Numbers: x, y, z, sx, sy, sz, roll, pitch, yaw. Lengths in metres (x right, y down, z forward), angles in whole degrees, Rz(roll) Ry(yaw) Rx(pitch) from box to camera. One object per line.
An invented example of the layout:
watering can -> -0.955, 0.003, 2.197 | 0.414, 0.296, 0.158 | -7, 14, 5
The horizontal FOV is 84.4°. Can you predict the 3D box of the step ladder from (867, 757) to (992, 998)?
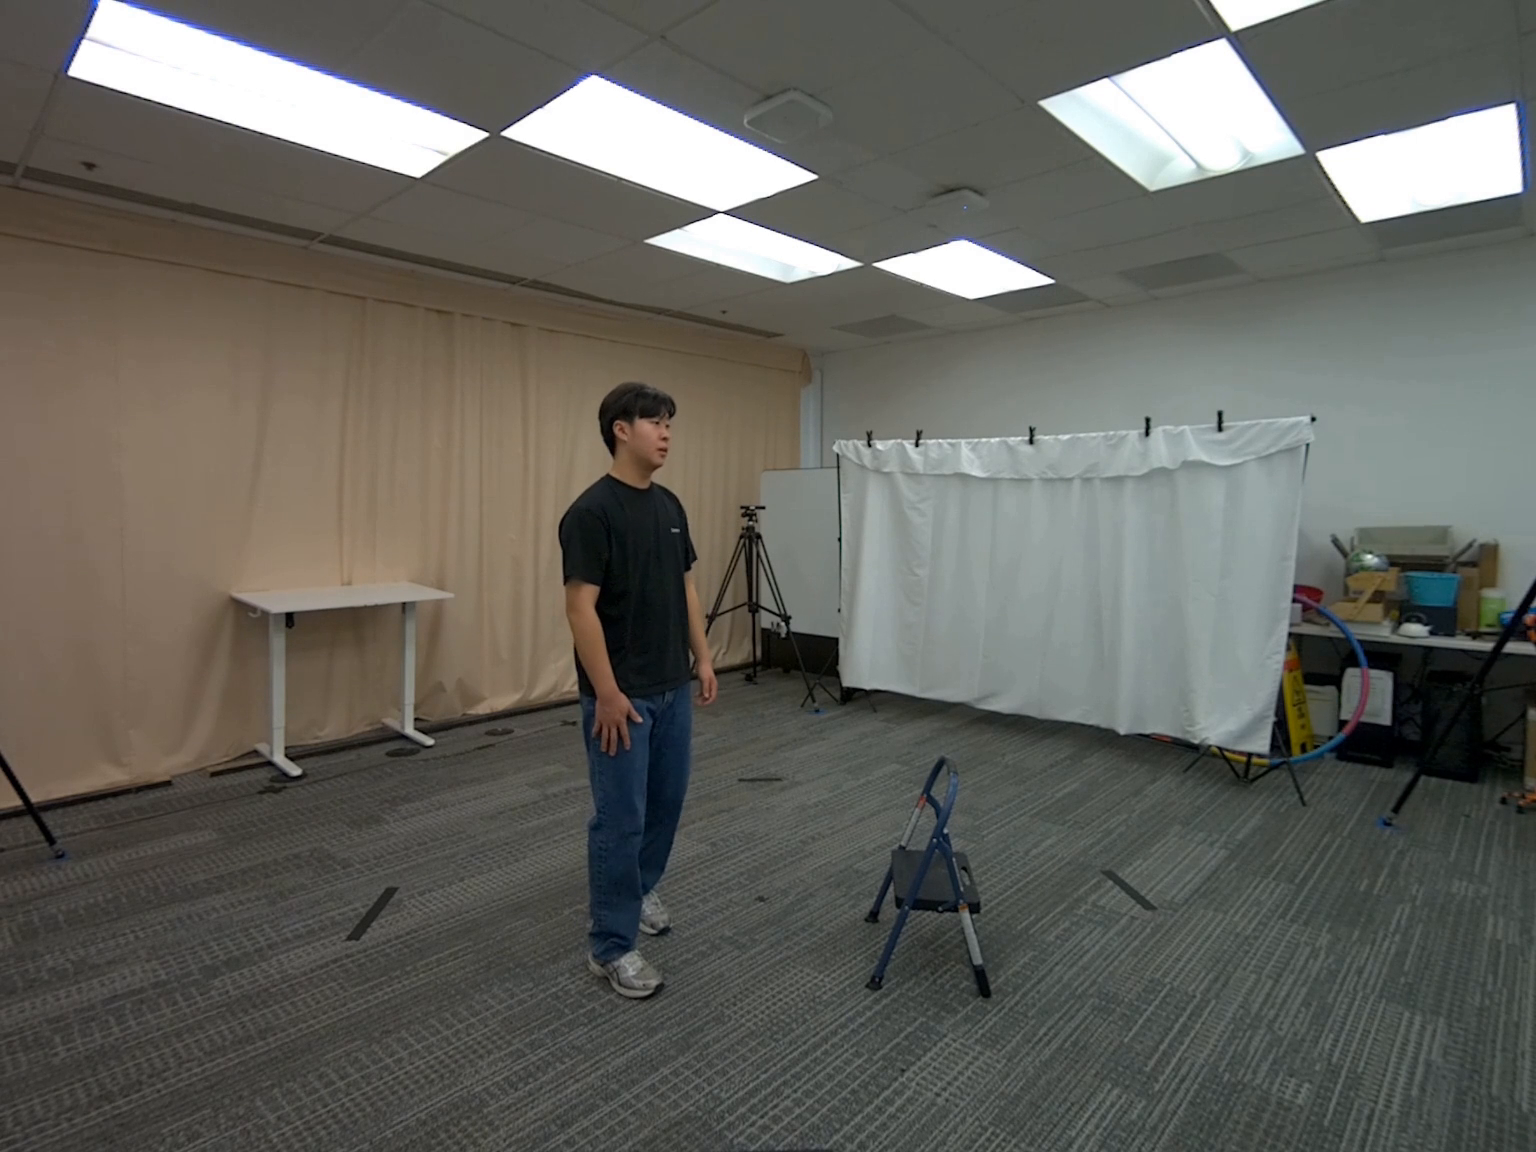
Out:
step ladder -> 0.489, 0.878, 2.582 | 0.352, 0.605, 0.428 | 1, 4, 7
